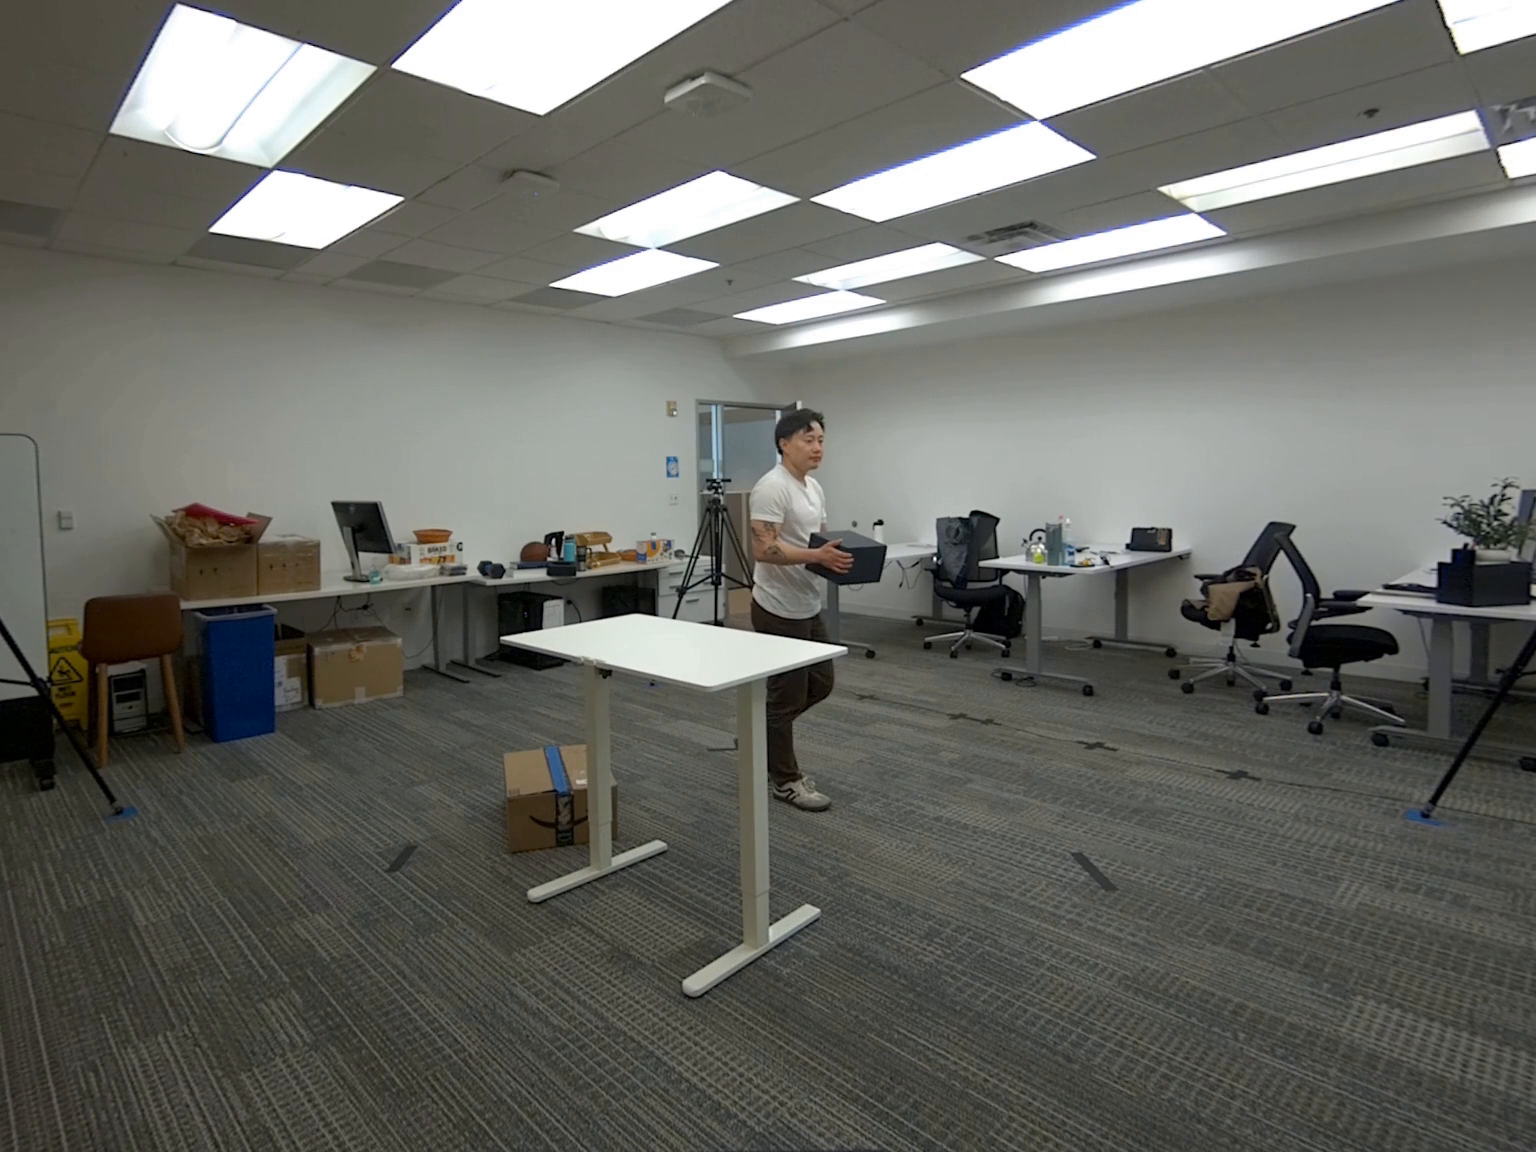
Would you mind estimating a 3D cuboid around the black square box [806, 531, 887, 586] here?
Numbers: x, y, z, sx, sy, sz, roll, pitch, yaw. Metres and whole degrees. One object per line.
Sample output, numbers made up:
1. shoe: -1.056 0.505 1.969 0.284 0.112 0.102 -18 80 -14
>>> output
1. black square box: 0.314 -0.070 3.438 0.222 0.154 0.225 -4 18 -34
